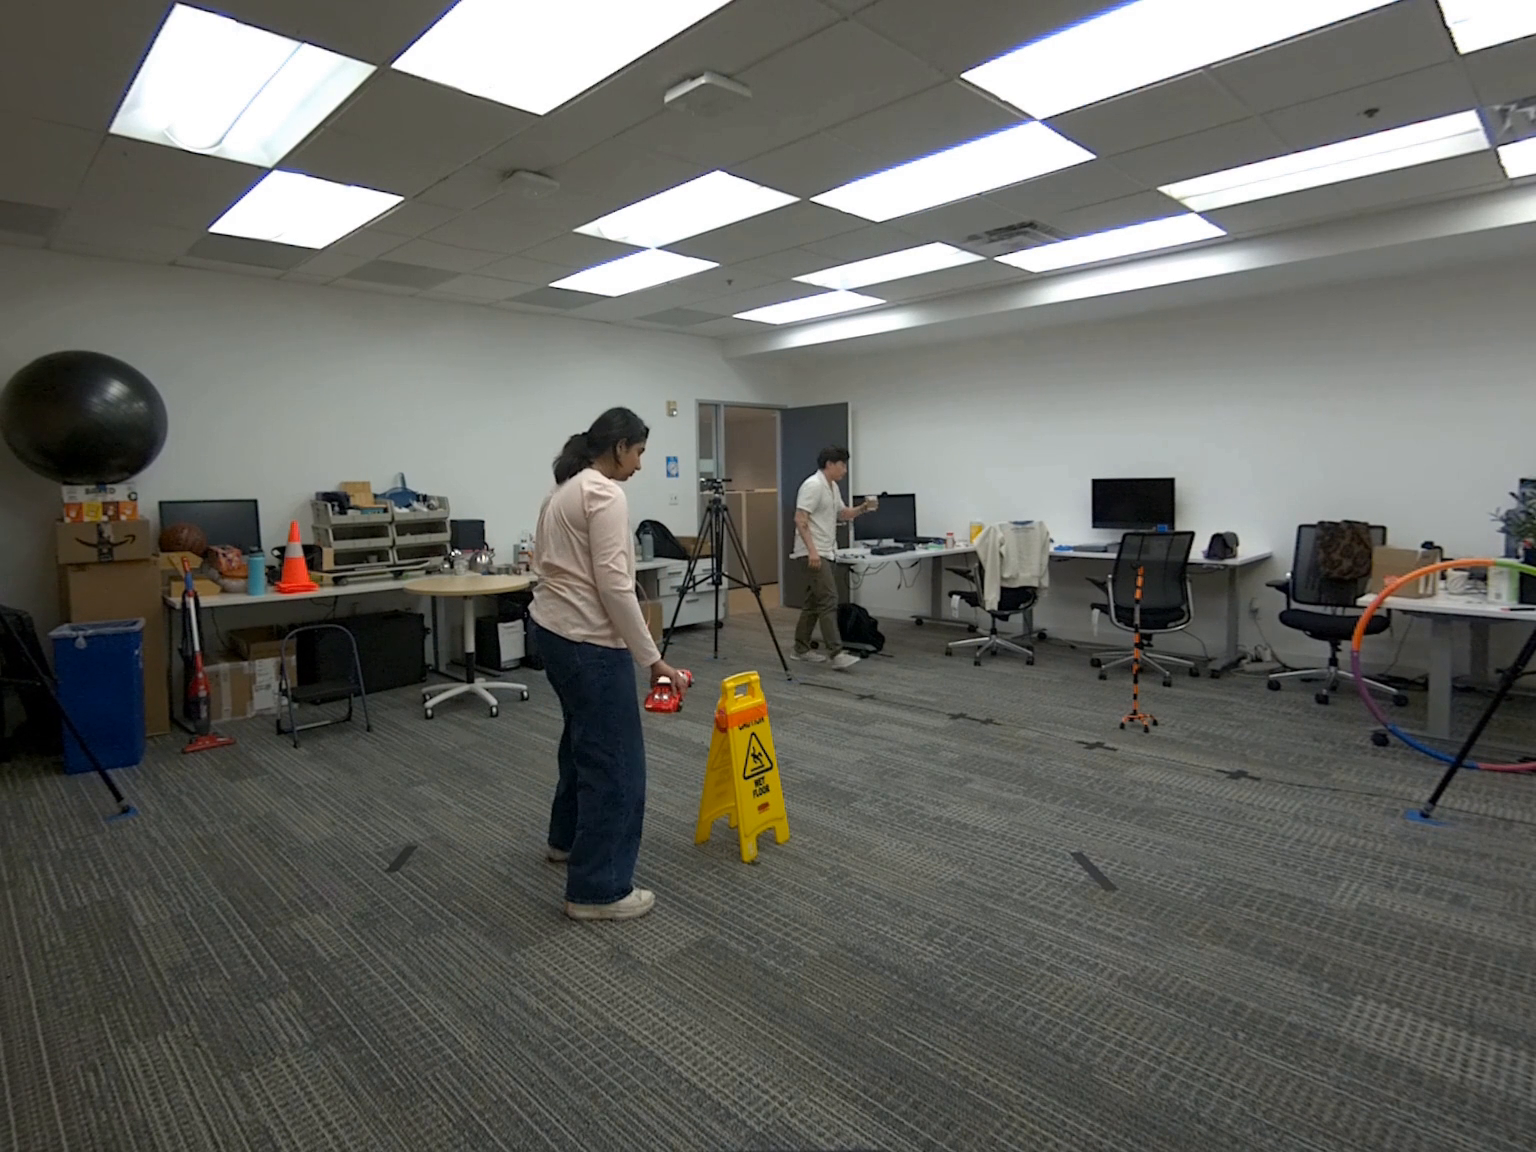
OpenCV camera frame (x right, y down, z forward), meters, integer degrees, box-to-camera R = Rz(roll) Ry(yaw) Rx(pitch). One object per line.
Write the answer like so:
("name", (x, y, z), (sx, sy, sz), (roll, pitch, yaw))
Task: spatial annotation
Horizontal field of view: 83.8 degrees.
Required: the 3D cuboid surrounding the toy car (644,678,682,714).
("toy car", (-0.327, 0.378, 2.764), (0.132, 0.082, 0.254), (2, 14, 11))
